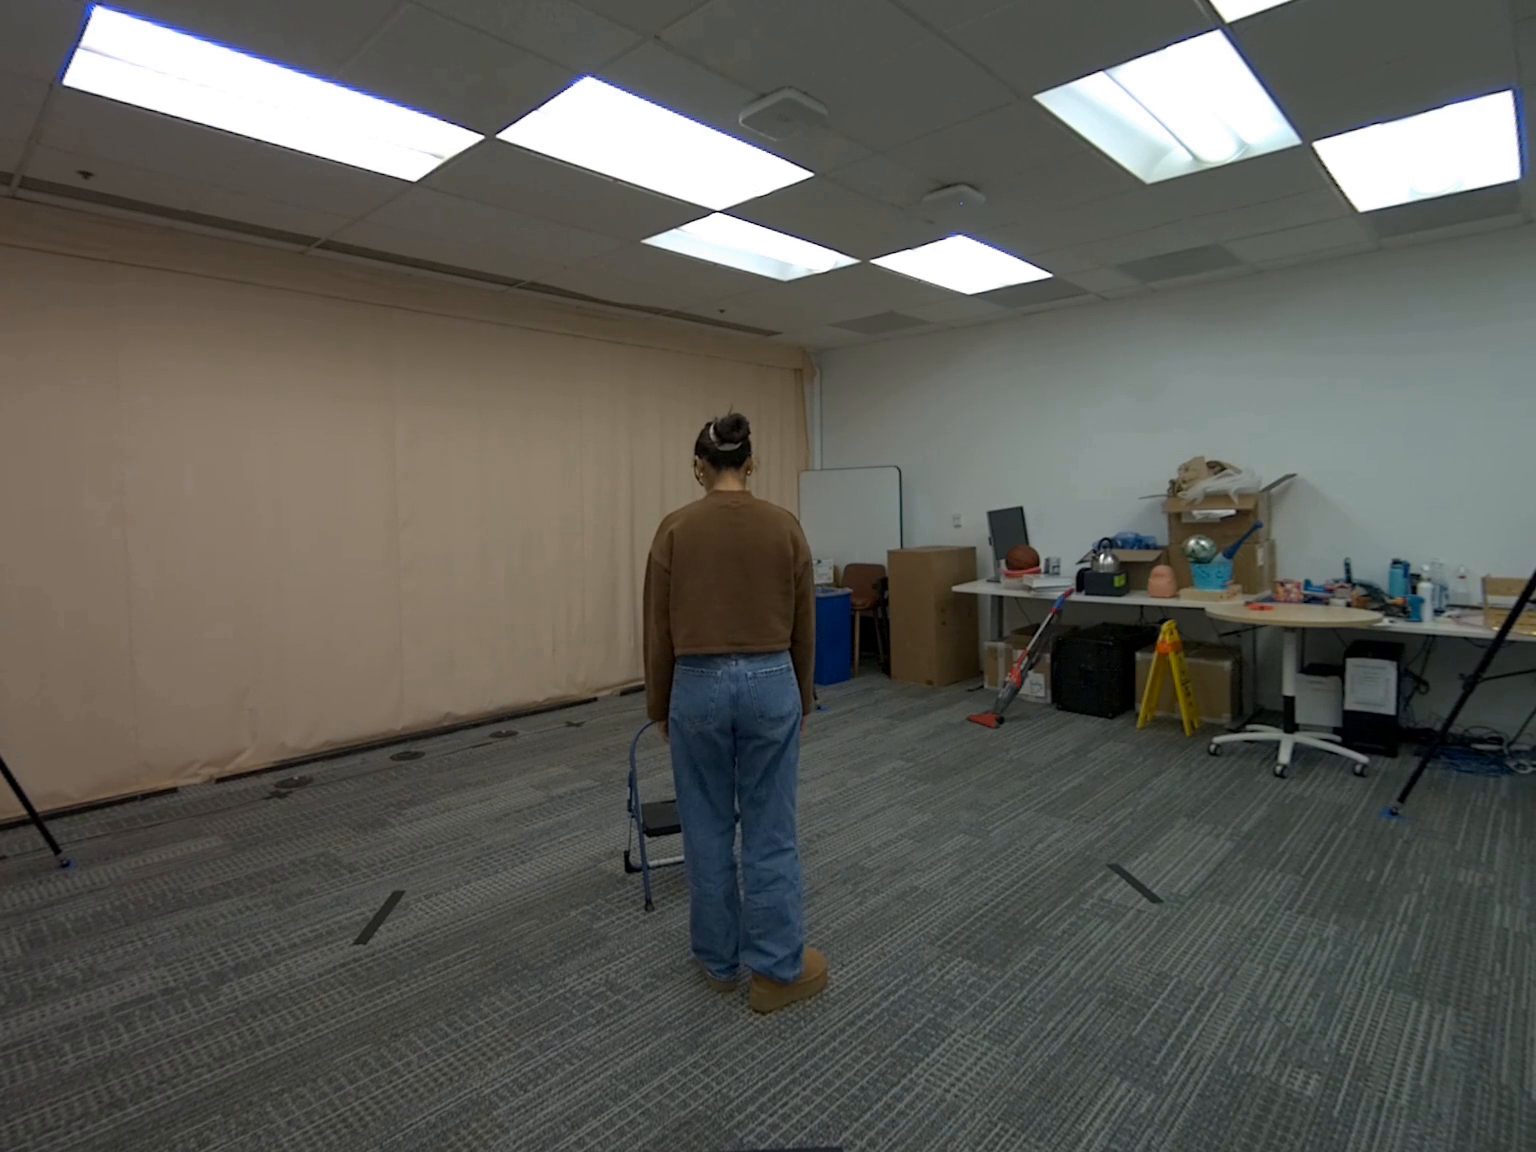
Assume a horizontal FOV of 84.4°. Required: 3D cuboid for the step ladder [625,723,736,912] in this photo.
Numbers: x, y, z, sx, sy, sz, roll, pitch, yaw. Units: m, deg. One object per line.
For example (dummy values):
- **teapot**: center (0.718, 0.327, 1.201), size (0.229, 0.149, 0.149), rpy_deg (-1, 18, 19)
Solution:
- **step ladder**: center (-0.299, 0.832, 3.114), size (0.421, 0.604, 0.358), rpy_deg (-3, 4, -22)
